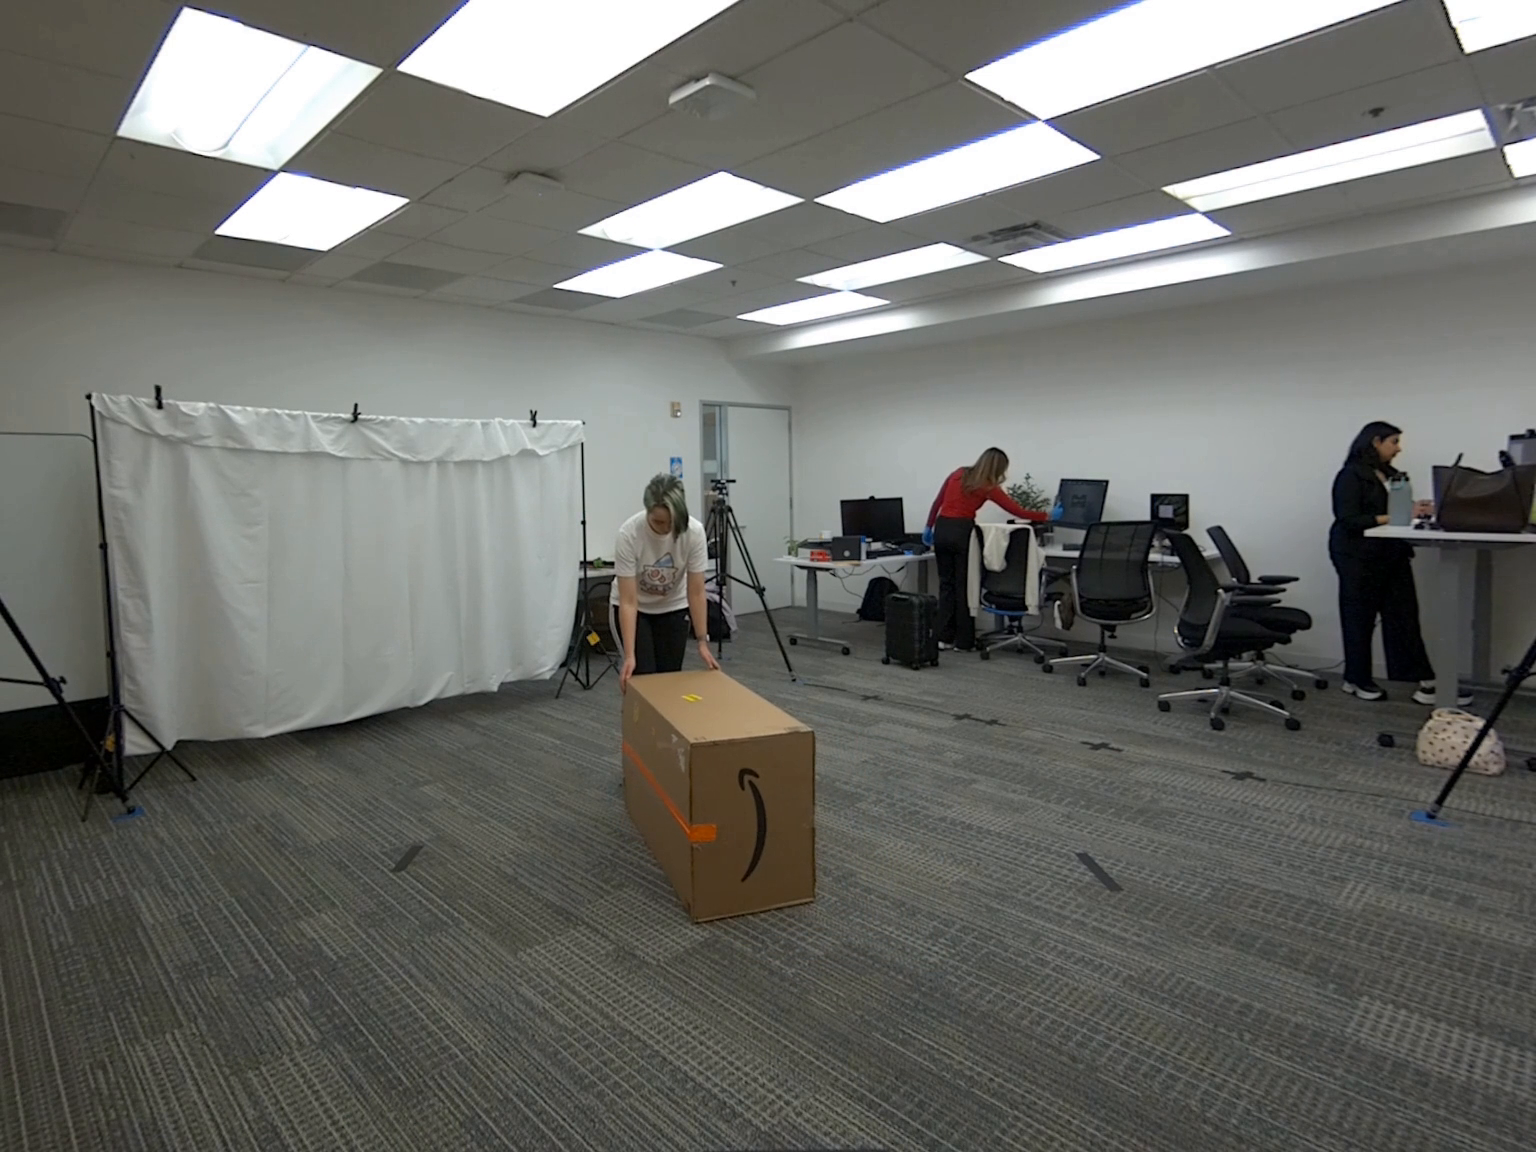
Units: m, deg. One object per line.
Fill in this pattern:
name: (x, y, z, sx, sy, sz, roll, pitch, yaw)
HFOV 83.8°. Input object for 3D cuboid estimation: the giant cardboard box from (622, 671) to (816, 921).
giant cardboard box: (-0.229, 0.749, 3.216, 0.439, 0.581, 1.049, -3, 6, -21)
